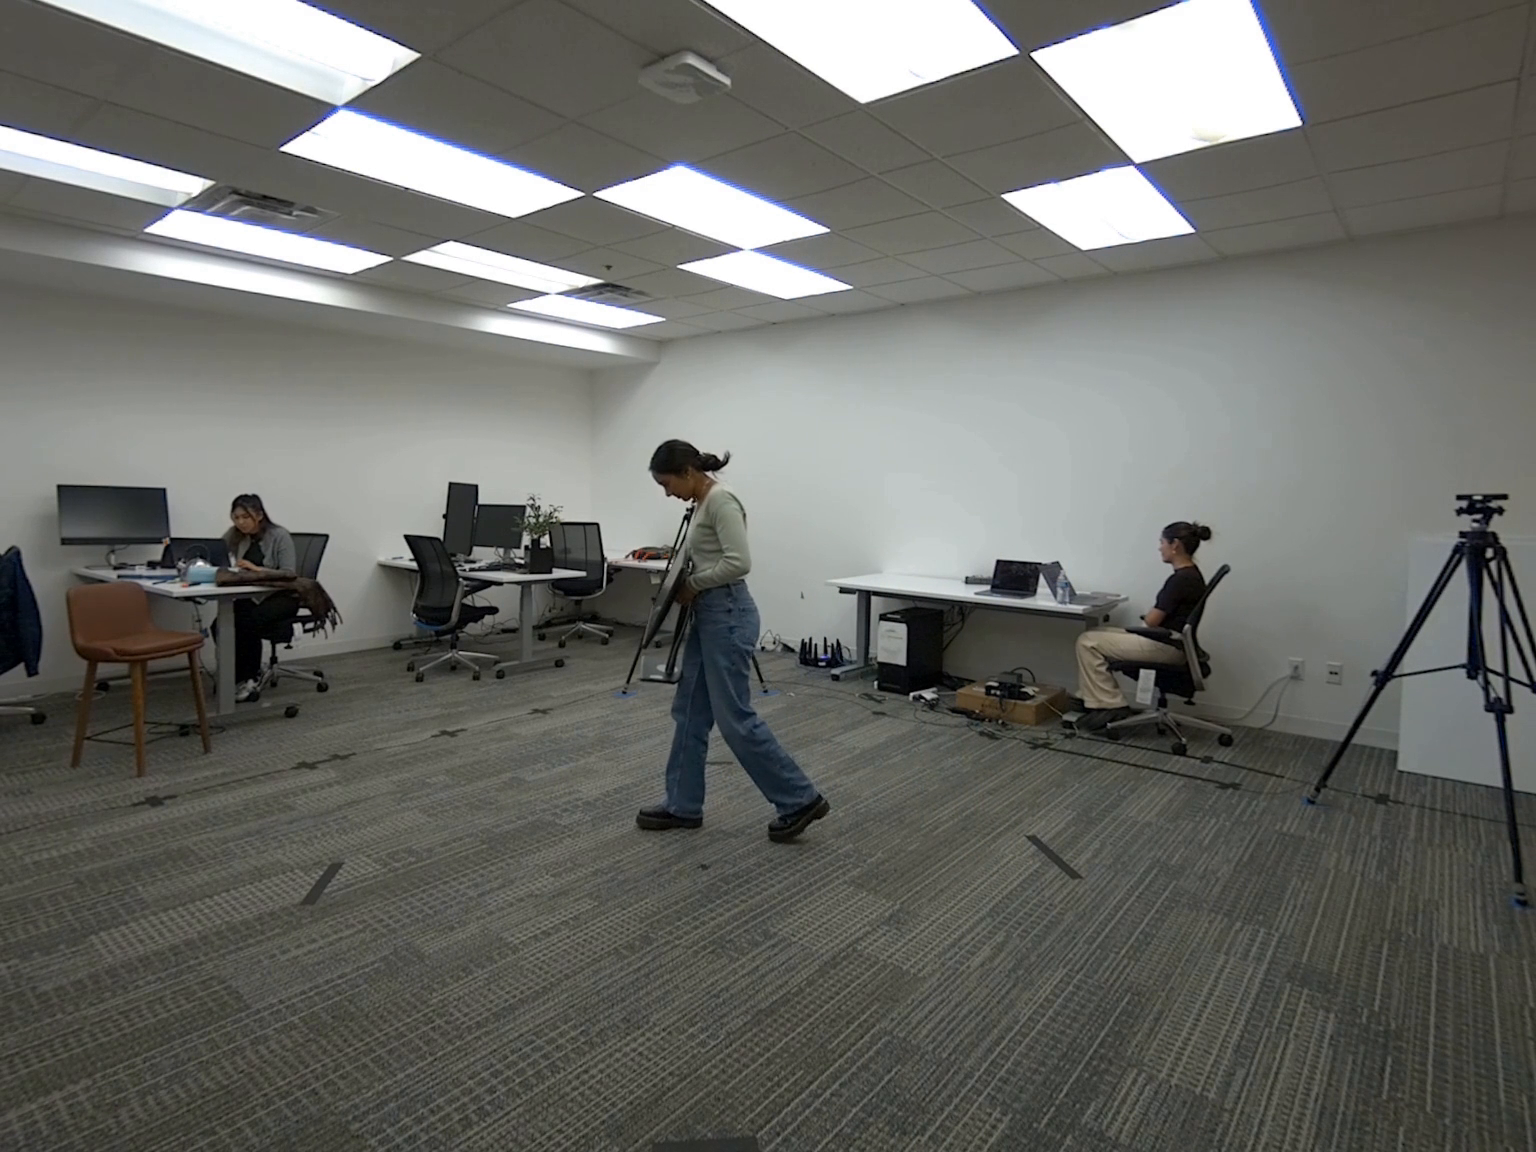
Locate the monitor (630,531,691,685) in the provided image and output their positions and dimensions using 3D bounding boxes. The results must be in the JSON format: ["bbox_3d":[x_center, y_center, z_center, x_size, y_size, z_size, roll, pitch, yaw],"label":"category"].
[{"bbox_3d":[-0.410,0.153,3.471,0.174,0.512,0.537,5,9,-6],"label":"monitor"}]
